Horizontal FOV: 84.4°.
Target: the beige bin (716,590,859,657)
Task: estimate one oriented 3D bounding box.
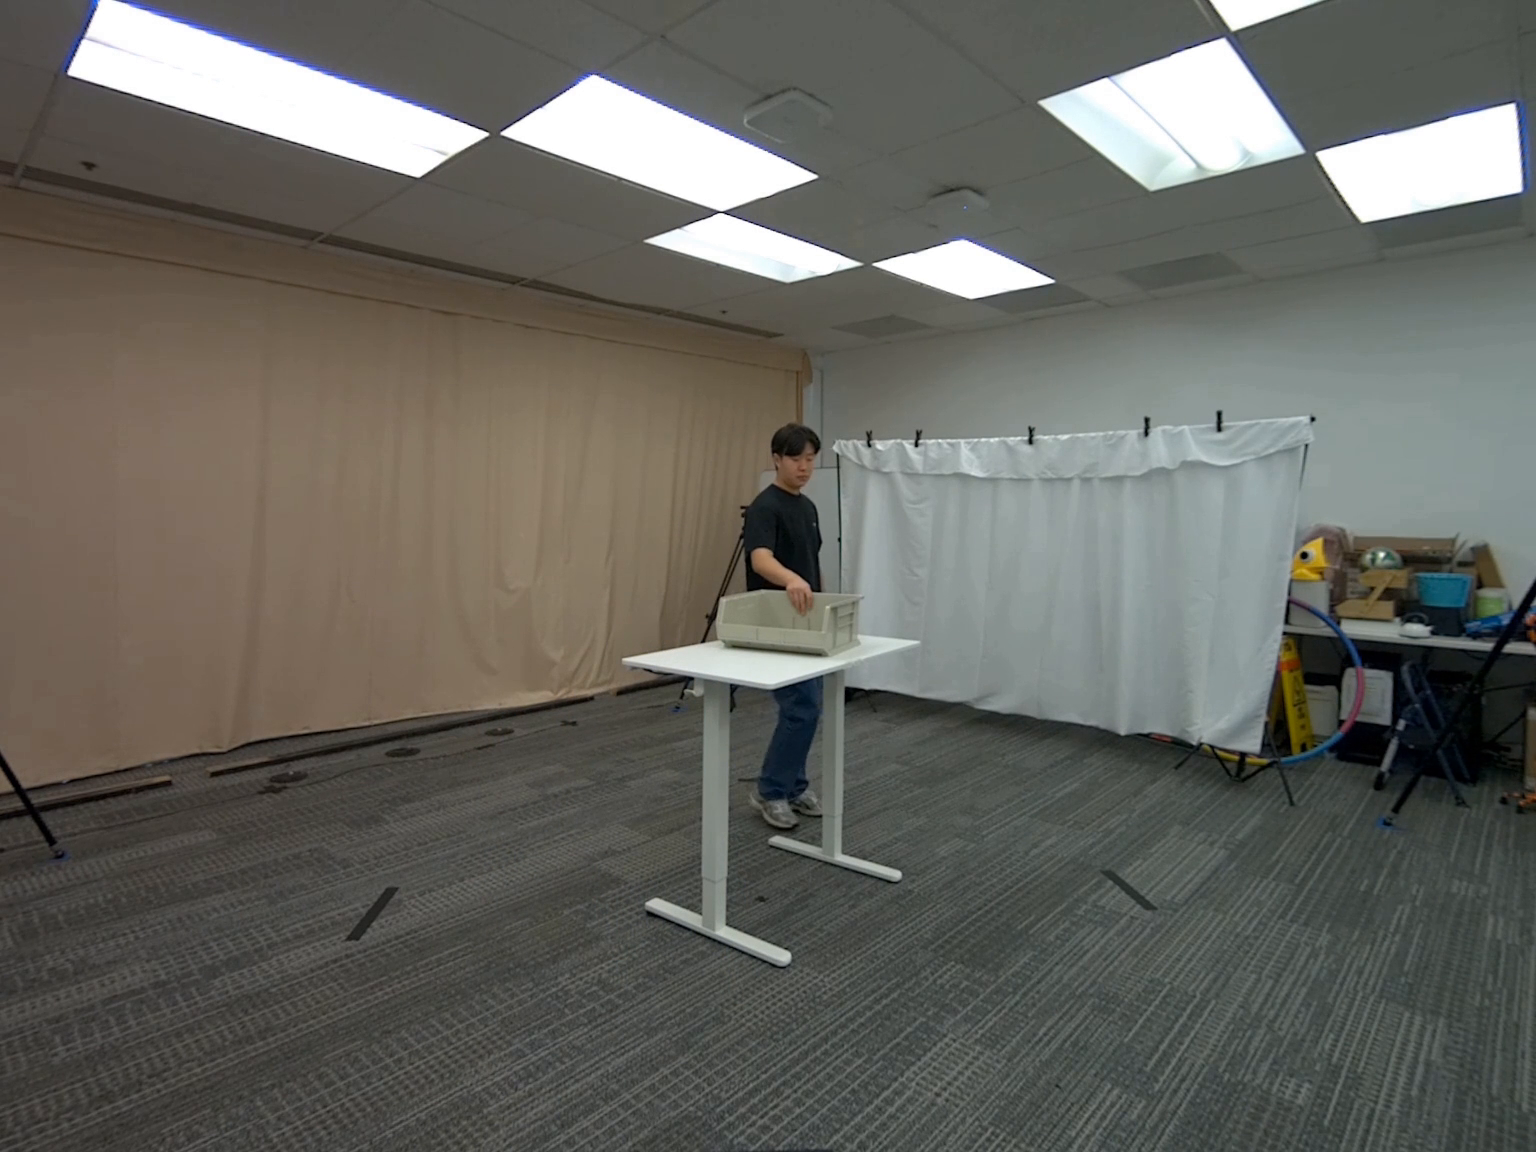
[{"bbox_3d":[0.086,0.170,3.051,0.434,0.189,0.368,2,3,27],"label":"beige bin"}]
